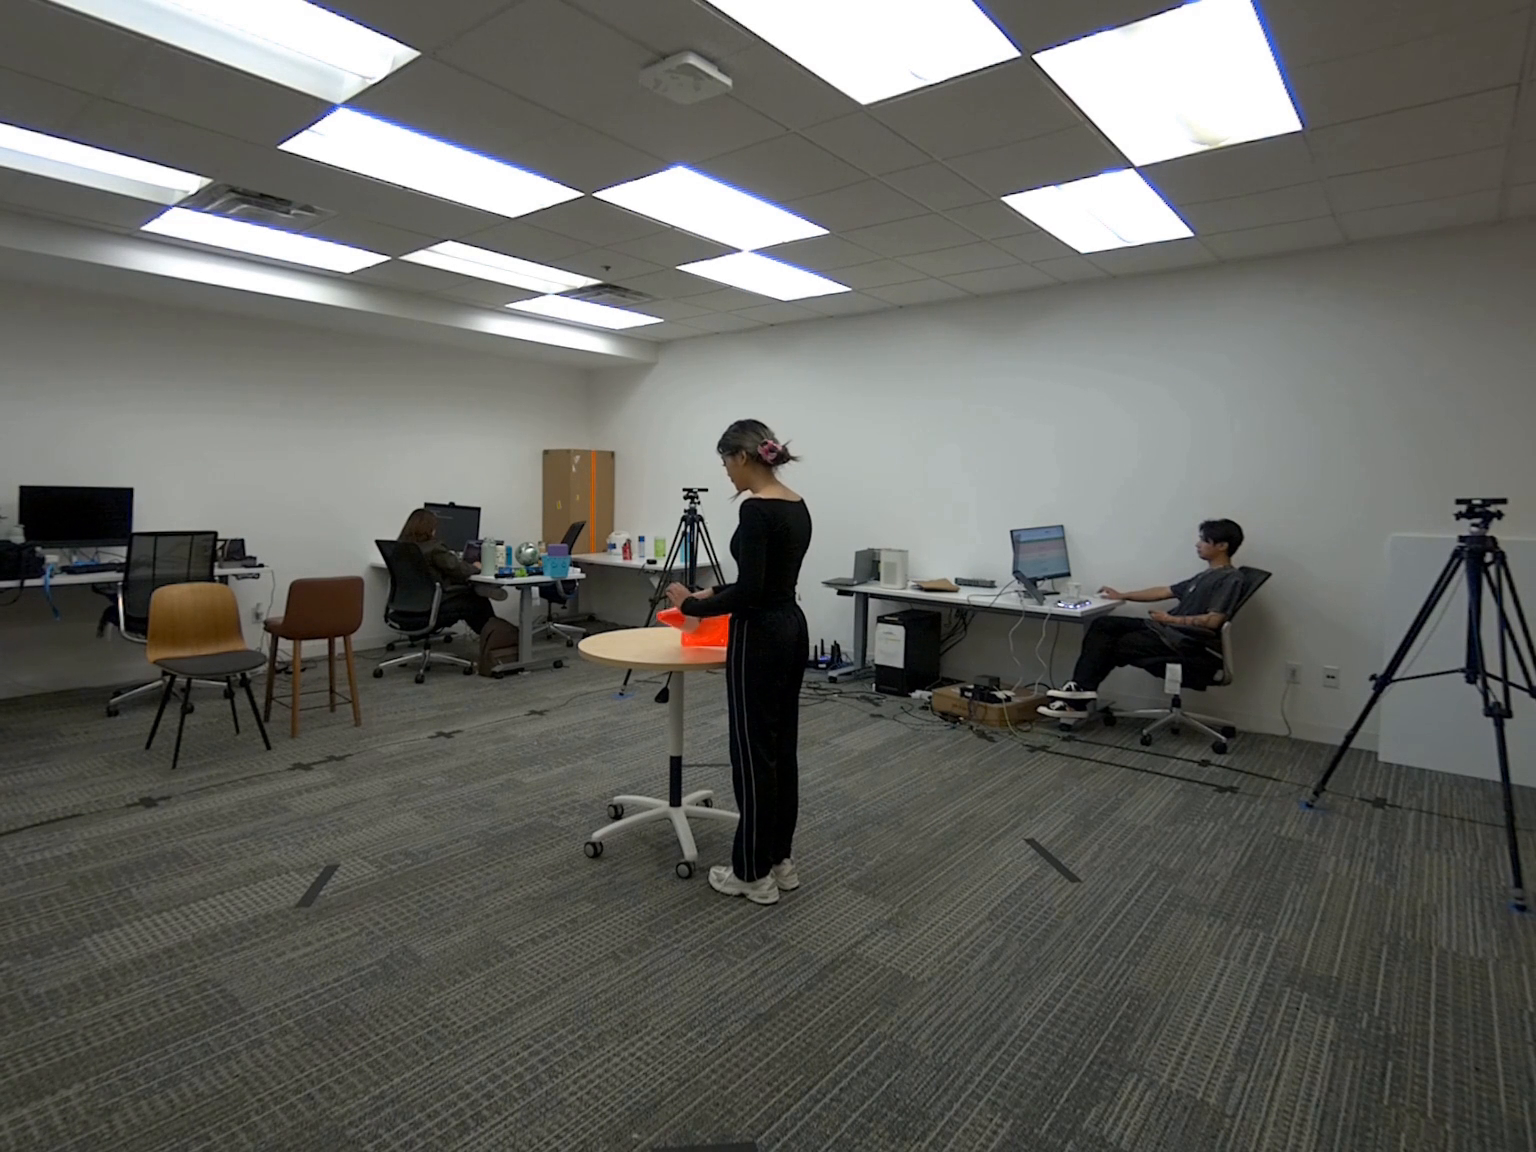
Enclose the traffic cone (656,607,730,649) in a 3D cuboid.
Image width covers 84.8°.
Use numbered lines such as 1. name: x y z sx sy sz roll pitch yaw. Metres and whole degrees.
1. traffic cone: -0.318 0.152 3.092 0.208 0.206 0.373 -1 -6 21
